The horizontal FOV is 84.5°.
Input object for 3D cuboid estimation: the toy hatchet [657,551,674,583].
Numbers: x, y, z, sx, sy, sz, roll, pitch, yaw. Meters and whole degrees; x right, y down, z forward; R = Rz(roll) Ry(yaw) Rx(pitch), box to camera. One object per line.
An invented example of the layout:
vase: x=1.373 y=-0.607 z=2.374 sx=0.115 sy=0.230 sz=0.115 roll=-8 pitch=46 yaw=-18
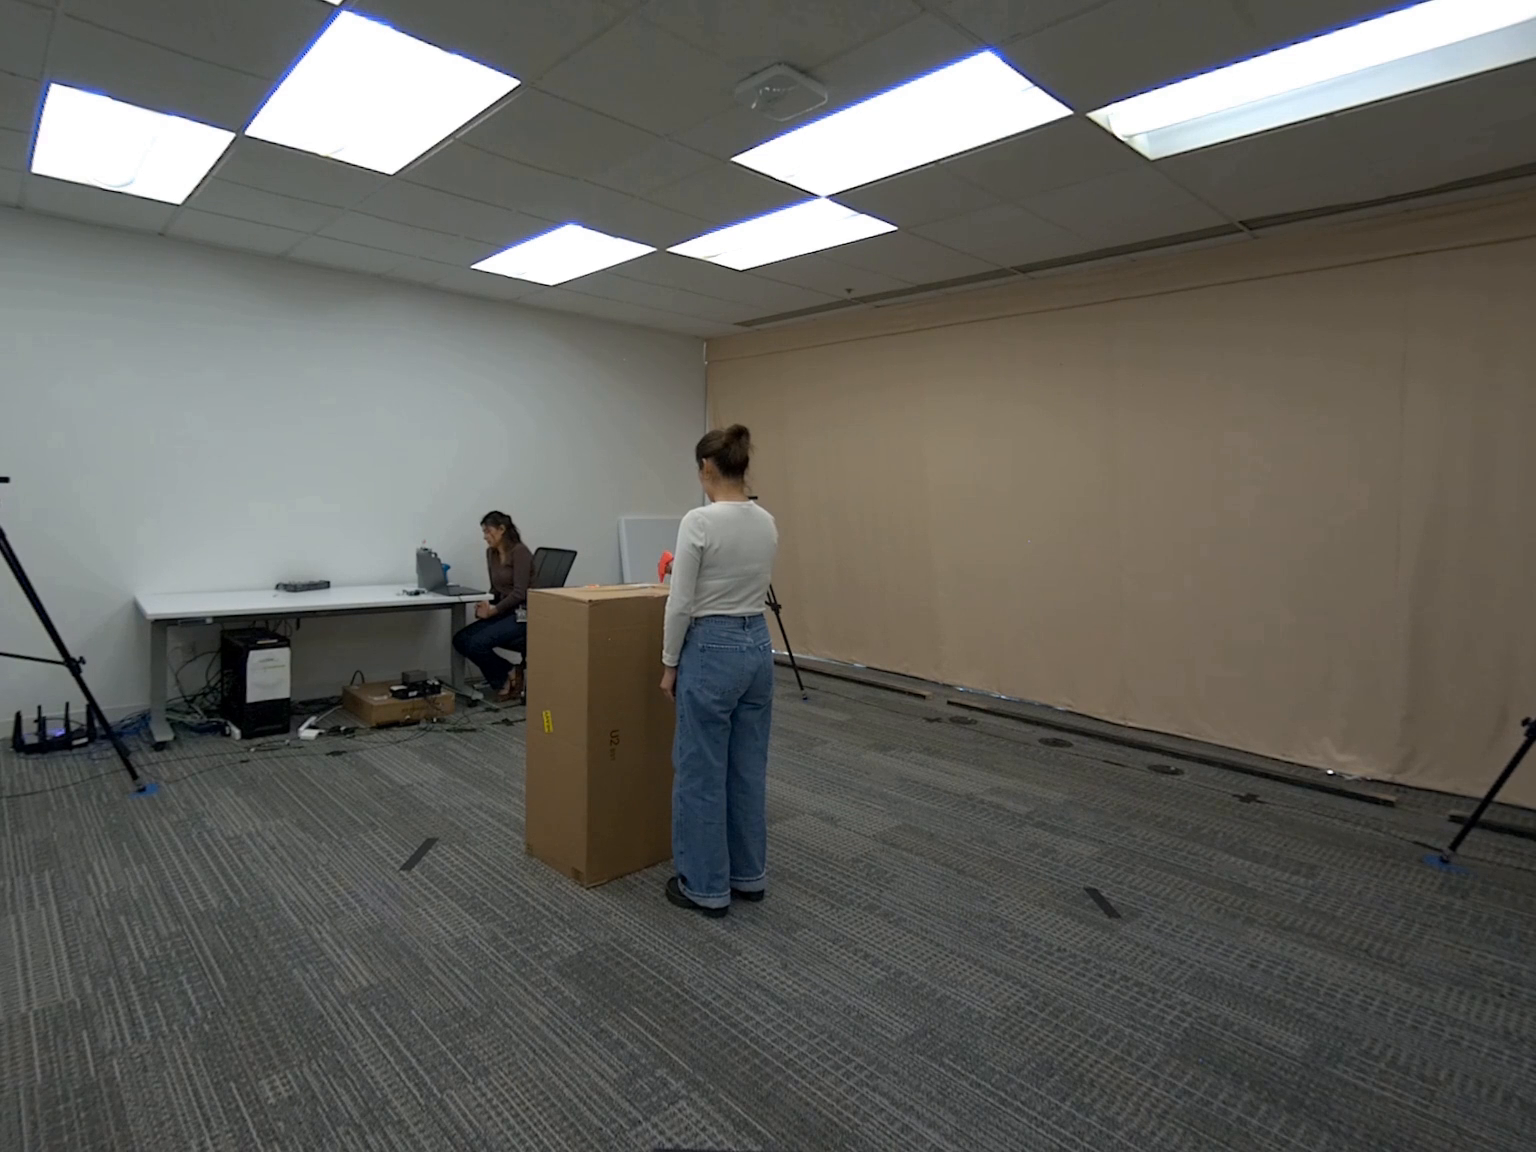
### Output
toy hatchet: x=-0.358 y=-0.036 z=3.327 sx=0.029 sy=0.131 sz=0.276 roll=1 pitch=-2 yaw=-44
